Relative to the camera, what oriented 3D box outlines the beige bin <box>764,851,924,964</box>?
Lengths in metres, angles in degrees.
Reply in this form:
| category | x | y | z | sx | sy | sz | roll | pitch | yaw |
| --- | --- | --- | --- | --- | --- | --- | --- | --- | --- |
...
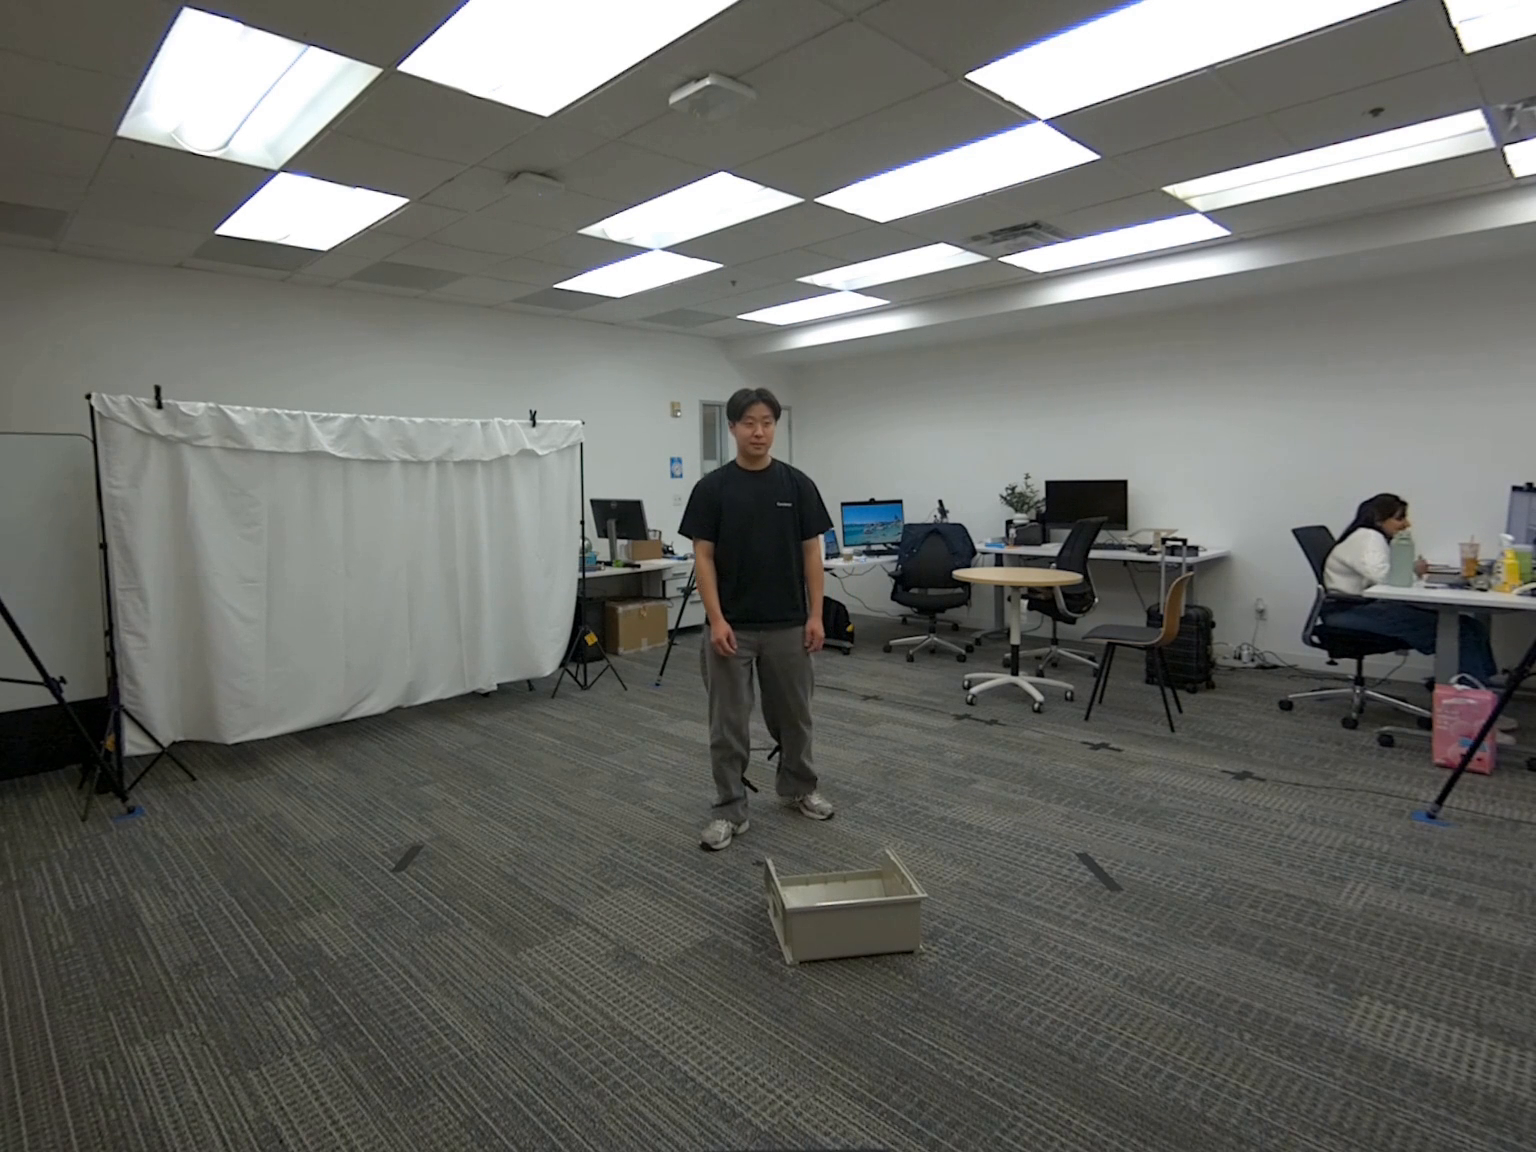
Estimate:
| category | x | y | z | sx | sy | sz | roll | pitch | yaw |
| --- | --- | --- | --- | --- | --- | --- | --- | --- | --- |
| beige bin | 0.228 | 1.005 | 2.645 | 0.419 | 0.188 | 0.382 | -1 | 5 | -10 |
